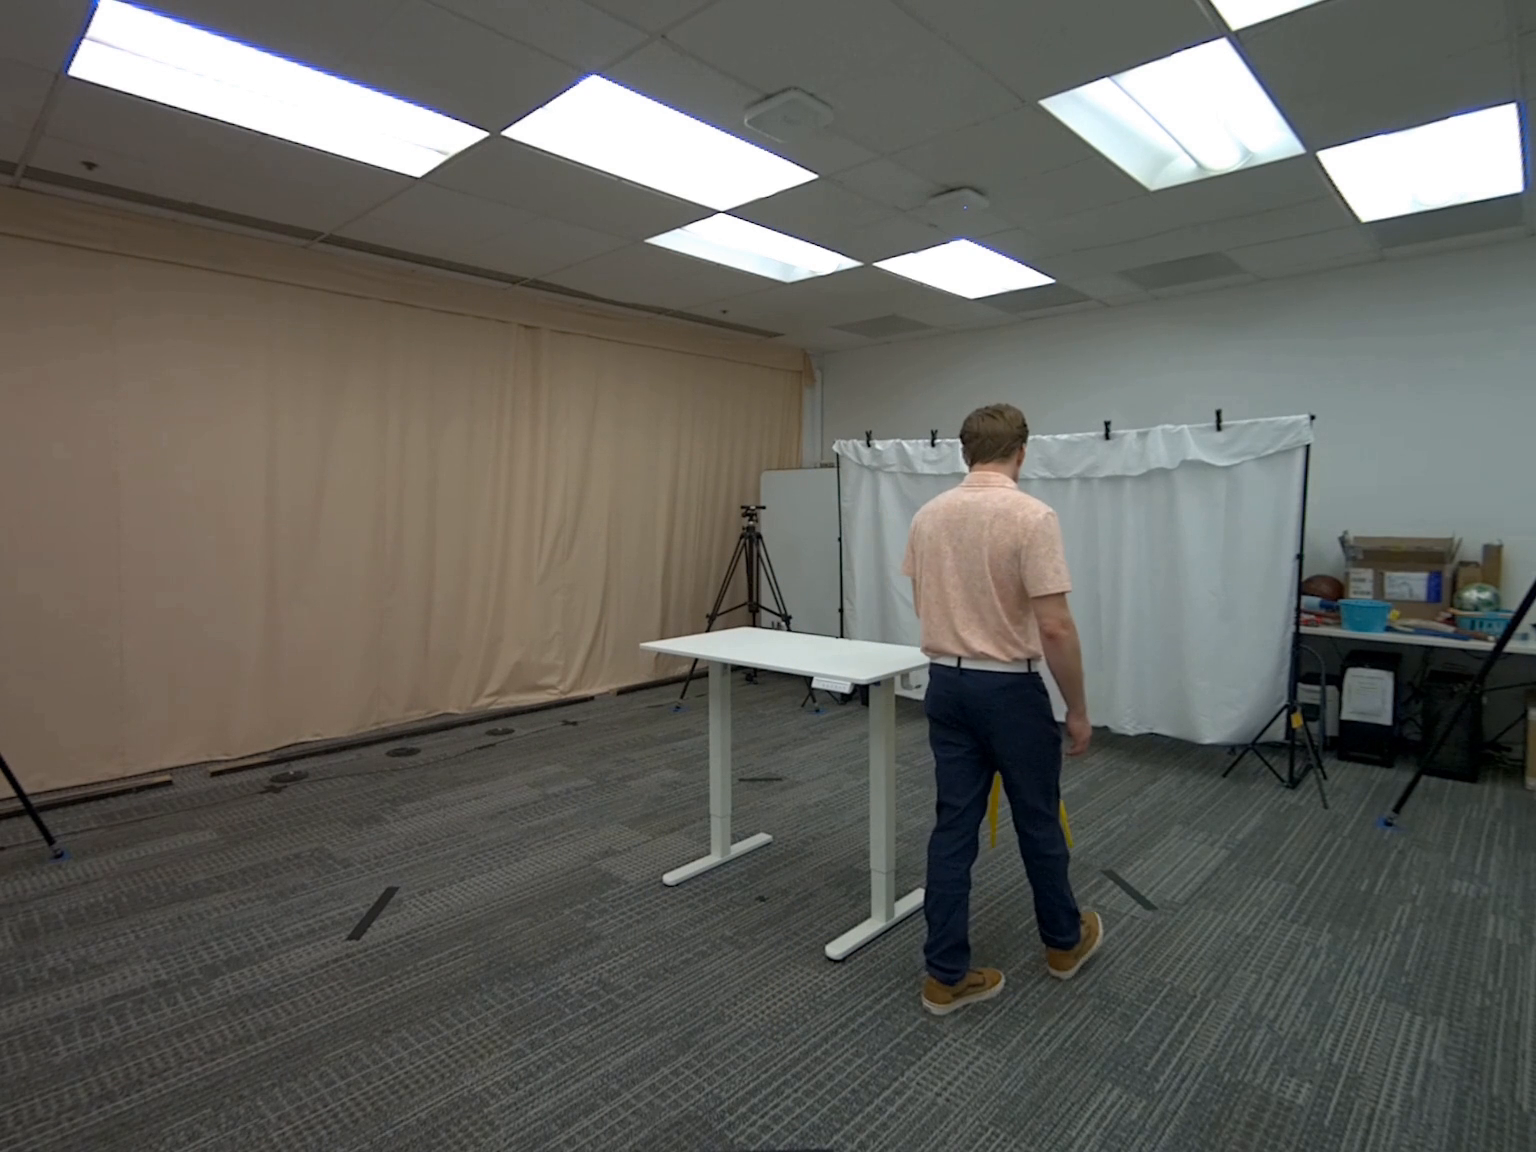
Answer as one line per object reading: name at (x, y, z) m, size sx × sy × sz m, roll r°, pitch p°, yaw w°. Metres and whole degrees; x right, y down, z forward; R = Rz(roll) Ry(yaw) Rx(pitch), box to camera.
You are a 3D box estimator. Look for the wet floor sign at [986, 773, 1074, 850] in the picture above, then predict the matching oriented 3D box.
wet floor sign at (0.835, 0.521, 2.740) m, size 0.294 × 0.644 × 0.279 m, roll -5°, pitch 4°, yaw 13°
